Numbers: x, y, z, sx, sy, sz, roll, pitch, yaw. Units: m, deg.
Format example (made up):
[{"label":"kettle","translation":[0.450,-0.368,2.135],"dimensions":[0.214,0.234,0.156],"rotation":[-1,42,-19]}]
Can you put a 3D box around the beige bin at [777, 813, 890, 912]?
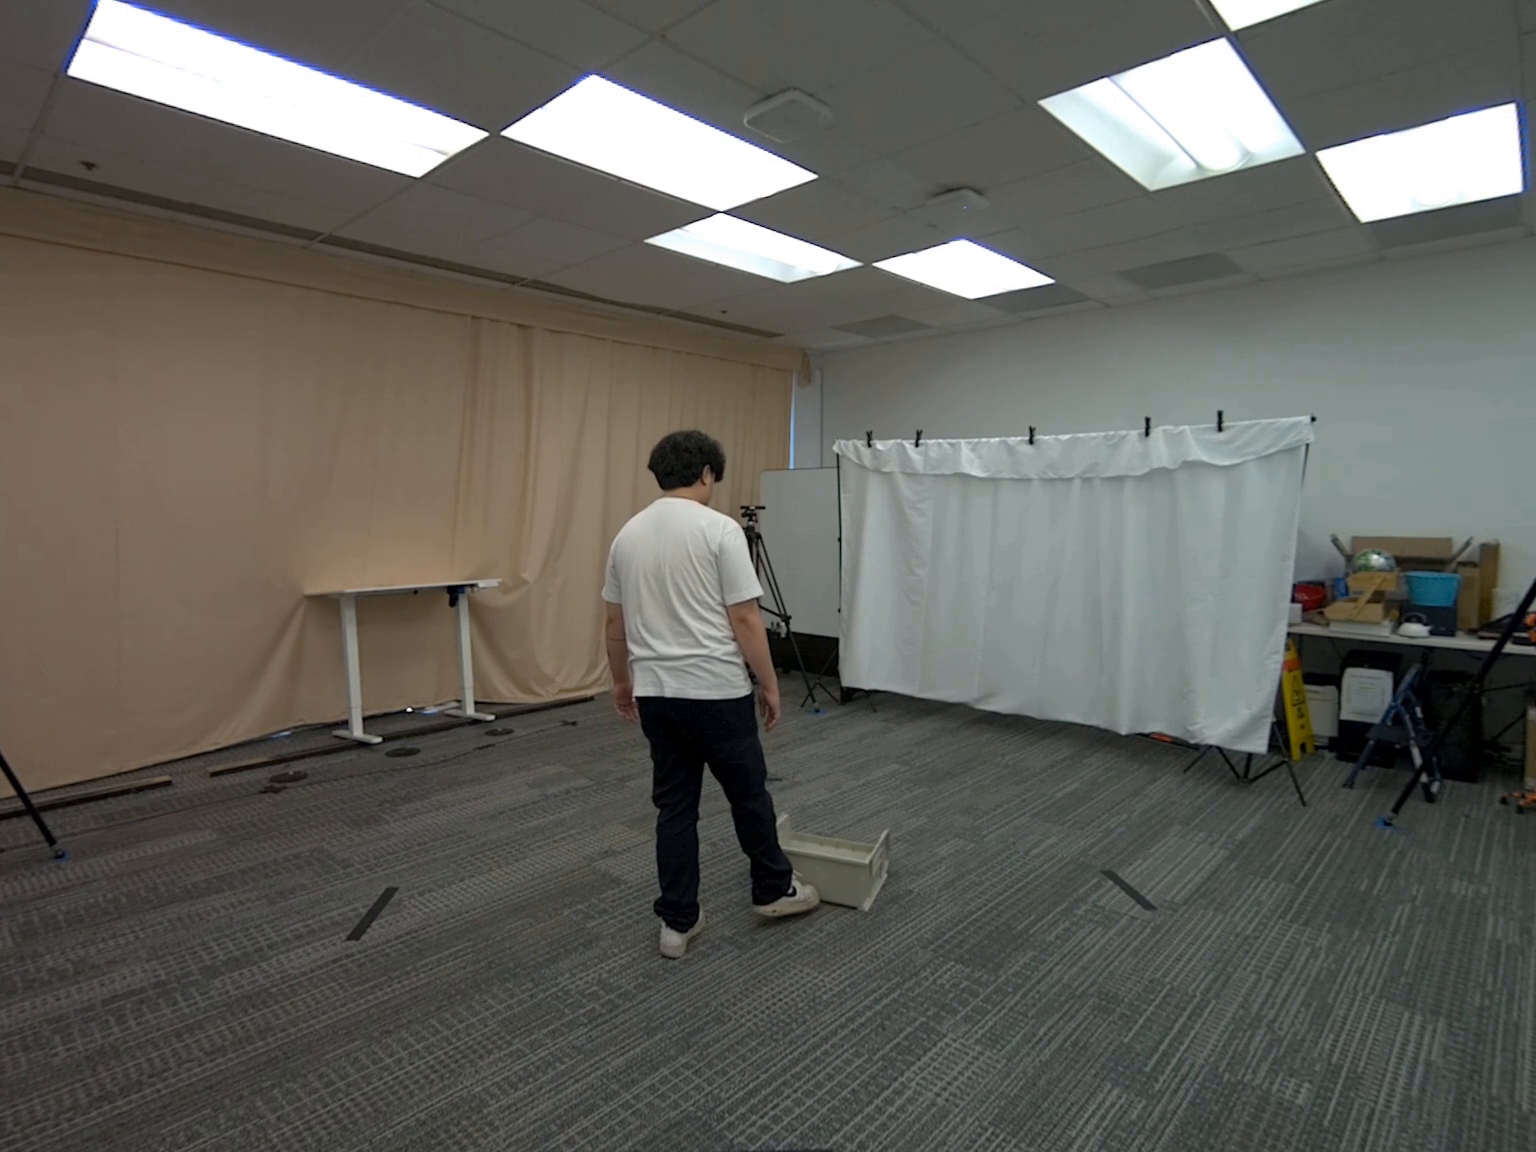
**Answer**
[{"label":"beige bin","translation":[0.211,1.043,3.115],"dimensions":[0.432,0.188,0.369],"rotation":[2,6,22]}]
